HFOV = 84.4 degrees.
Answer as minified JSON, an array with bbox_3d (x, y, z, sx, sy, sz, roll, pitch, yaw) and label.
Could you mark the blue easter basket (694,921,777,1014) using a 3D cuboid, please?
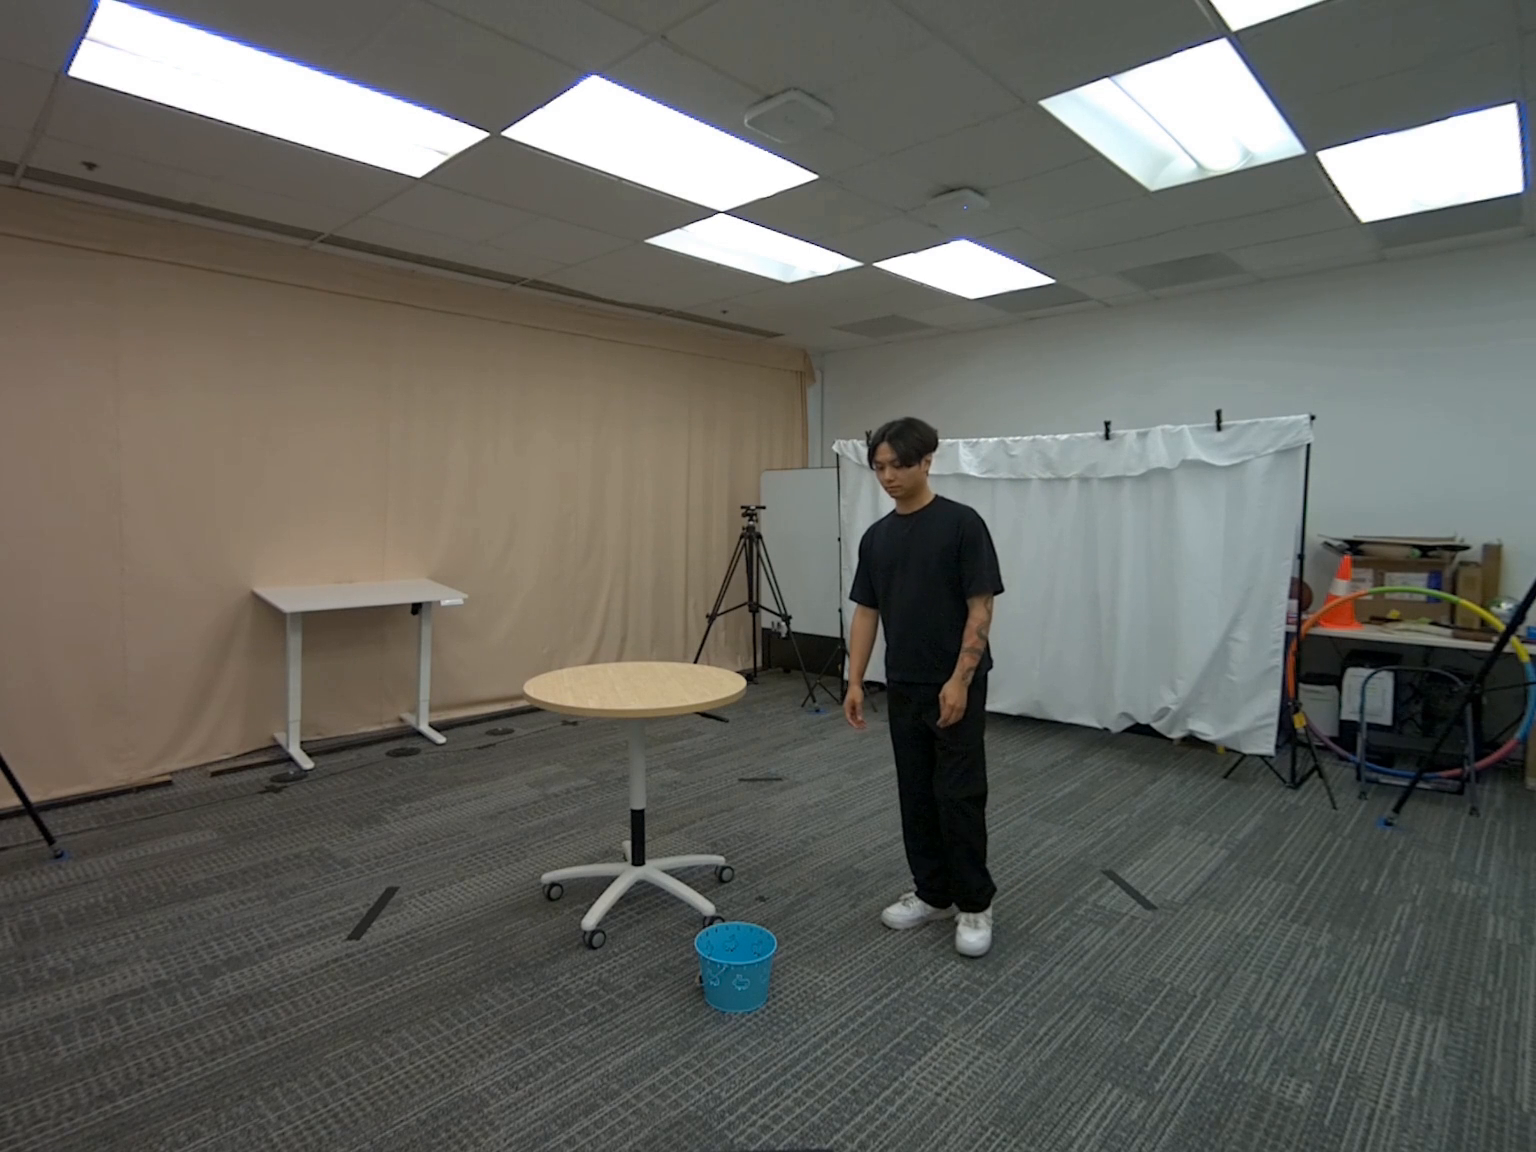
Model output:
[{"bbox_3d":[-0.093,1.114,2.396,0.243,0.155,0.244,0,3,-2],"label":"blue easter basket"}]
